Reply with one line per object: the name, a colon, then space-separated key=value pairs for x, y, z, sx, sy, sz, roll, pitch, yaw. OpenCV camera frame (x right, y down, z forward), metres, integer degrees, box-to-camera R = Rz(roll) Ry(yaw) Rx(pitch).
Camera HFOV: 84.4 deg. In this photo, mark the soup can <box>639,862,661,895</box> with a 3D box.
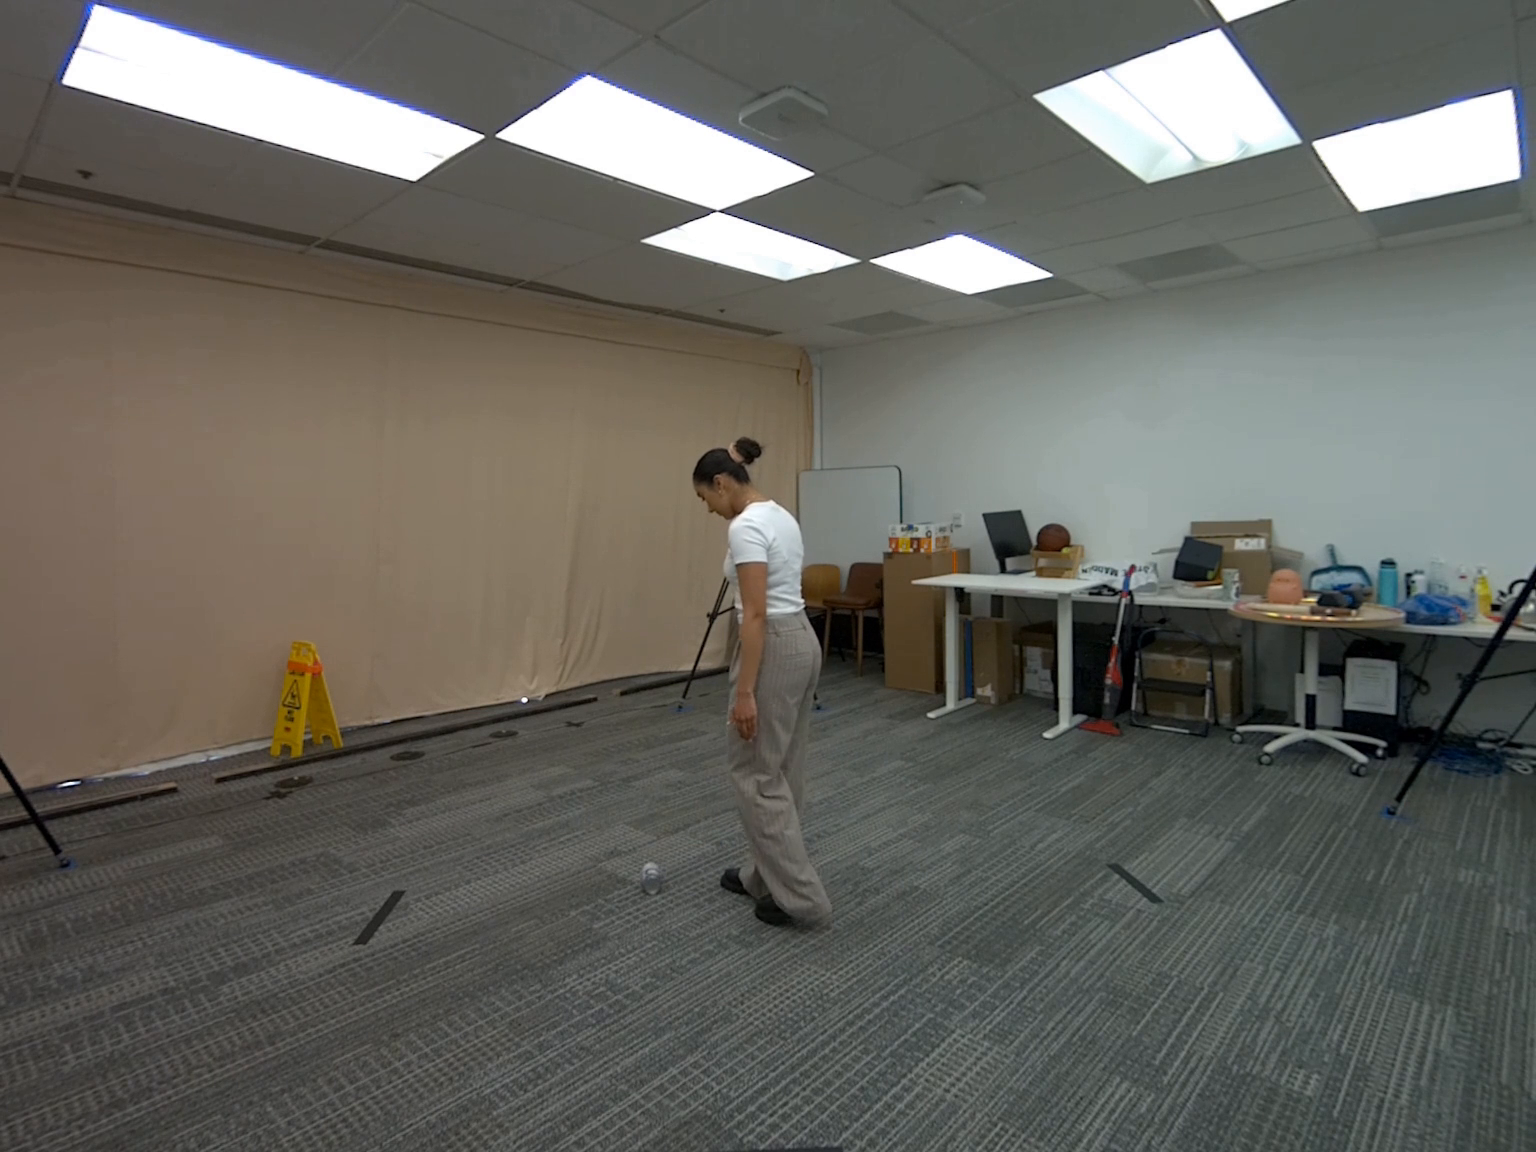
soup can: x=-0.425 y=1.101 z=3.084 sx=0.066 sy=0.067 sz=0.123 roll=-2 pitch=7 yaw=-13
